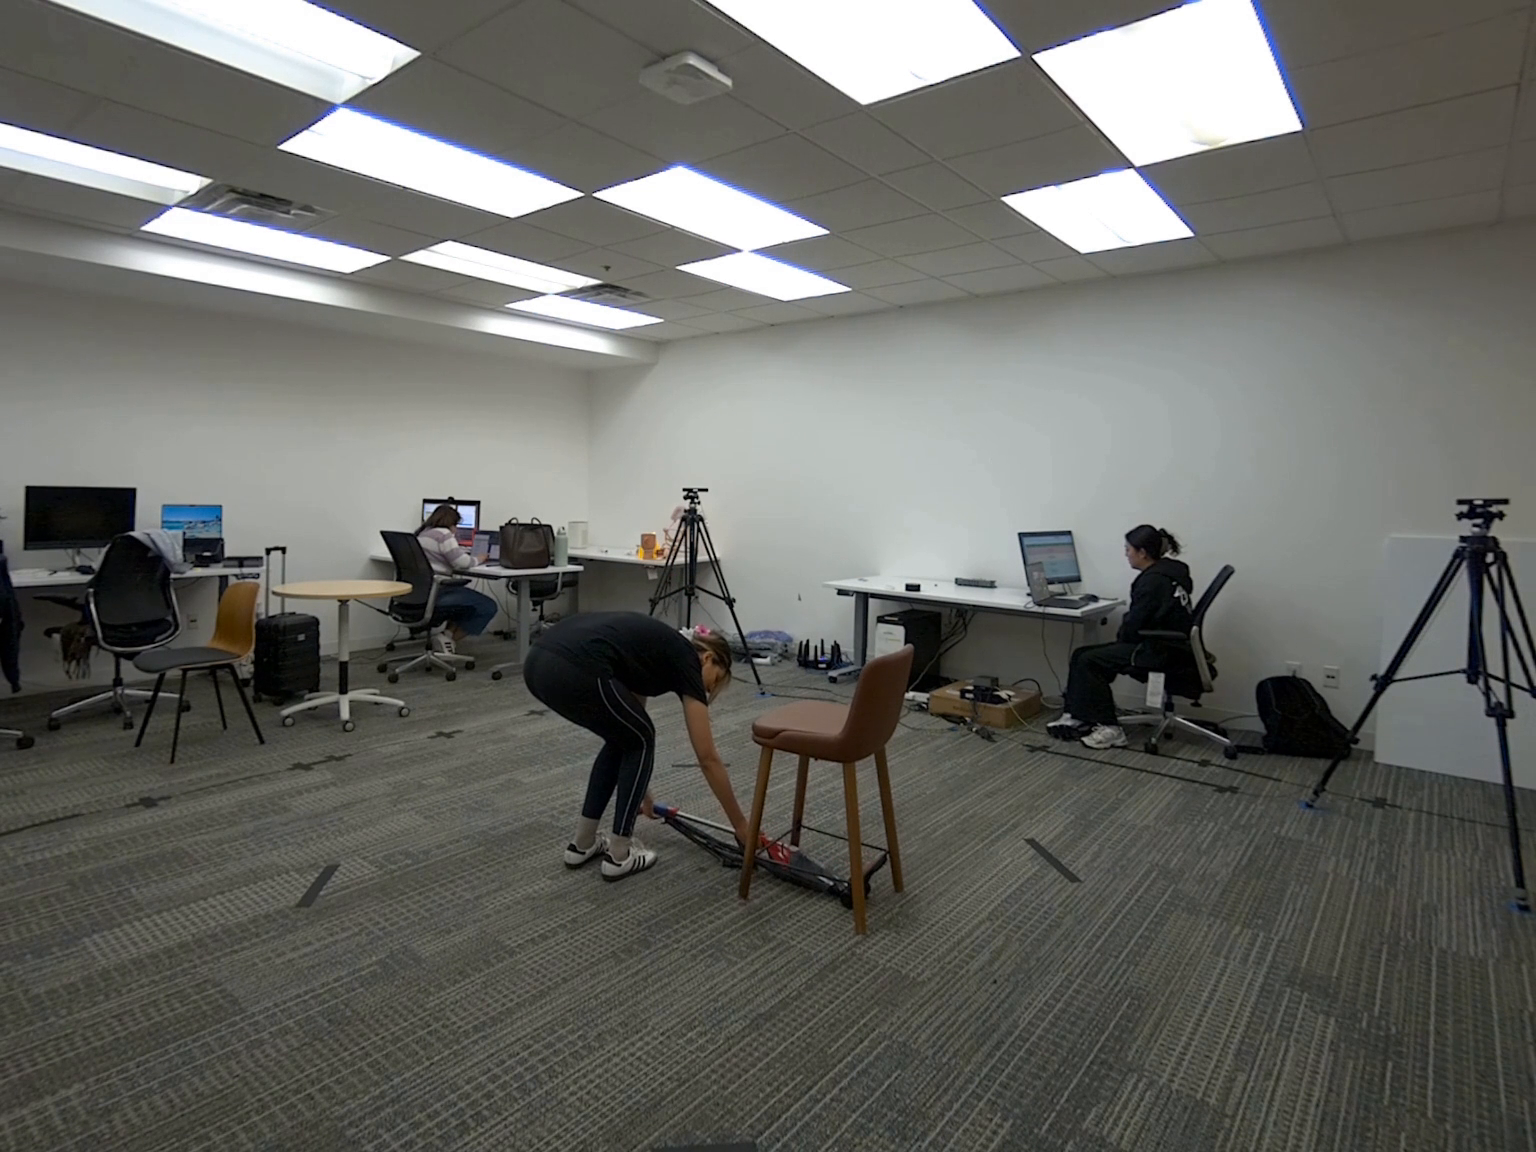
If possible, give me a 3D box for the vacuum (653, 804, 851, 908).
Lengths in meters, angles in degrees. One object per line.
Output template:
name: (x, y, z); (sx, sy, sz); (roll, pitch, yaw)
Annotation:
vacuum: (-0.128, 1.012, 3.179); (1.082, 0.143, 0.246); (4, 6, 33)
